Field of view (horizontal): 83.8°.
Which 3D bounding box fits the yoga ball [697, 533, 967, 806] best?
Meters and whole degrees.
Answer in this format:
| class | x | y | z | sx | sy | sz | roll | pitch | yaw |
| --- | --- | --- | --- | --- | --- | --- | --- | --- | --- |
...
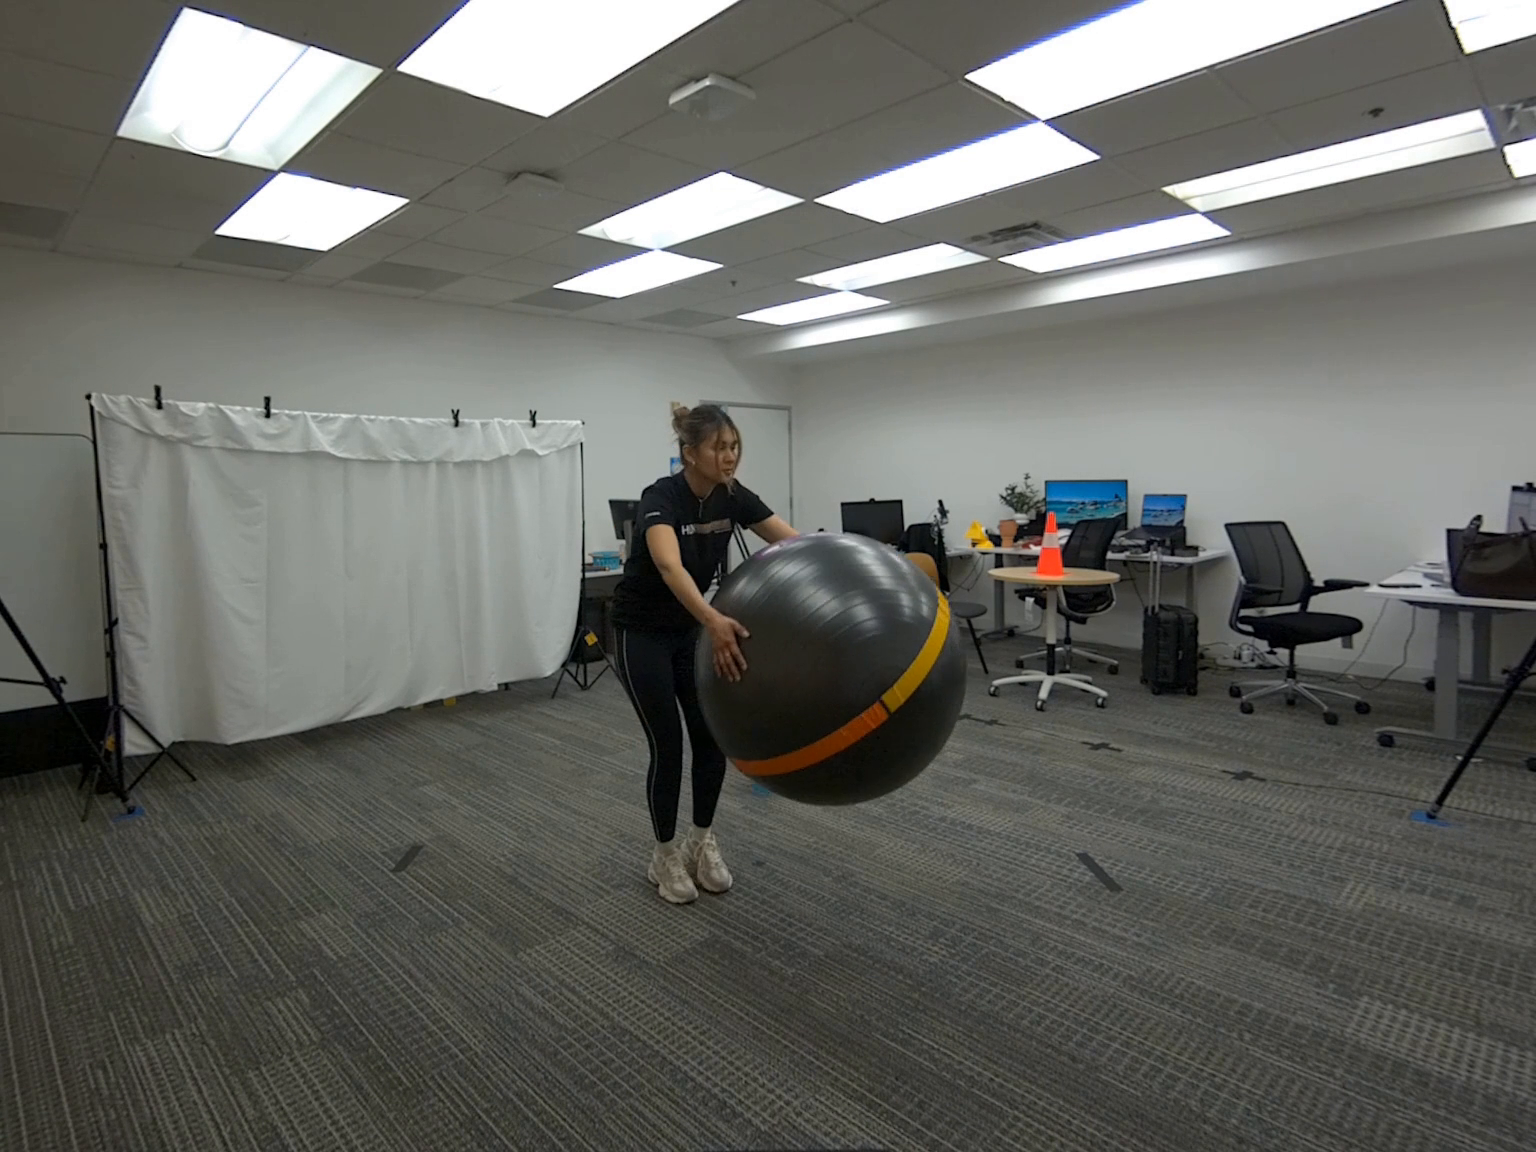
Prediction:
| class | x | y | z | sx | sy | sz | roll | pitch | yaw |
| --- | --- | --- | --- | --- | --- | --- | --- | --- | --- |
| yoga ball | 0.176 | 0.270 | 2.406 | 0.757 | 0.755 | 0.762 | -1 | 5 | -2 |
